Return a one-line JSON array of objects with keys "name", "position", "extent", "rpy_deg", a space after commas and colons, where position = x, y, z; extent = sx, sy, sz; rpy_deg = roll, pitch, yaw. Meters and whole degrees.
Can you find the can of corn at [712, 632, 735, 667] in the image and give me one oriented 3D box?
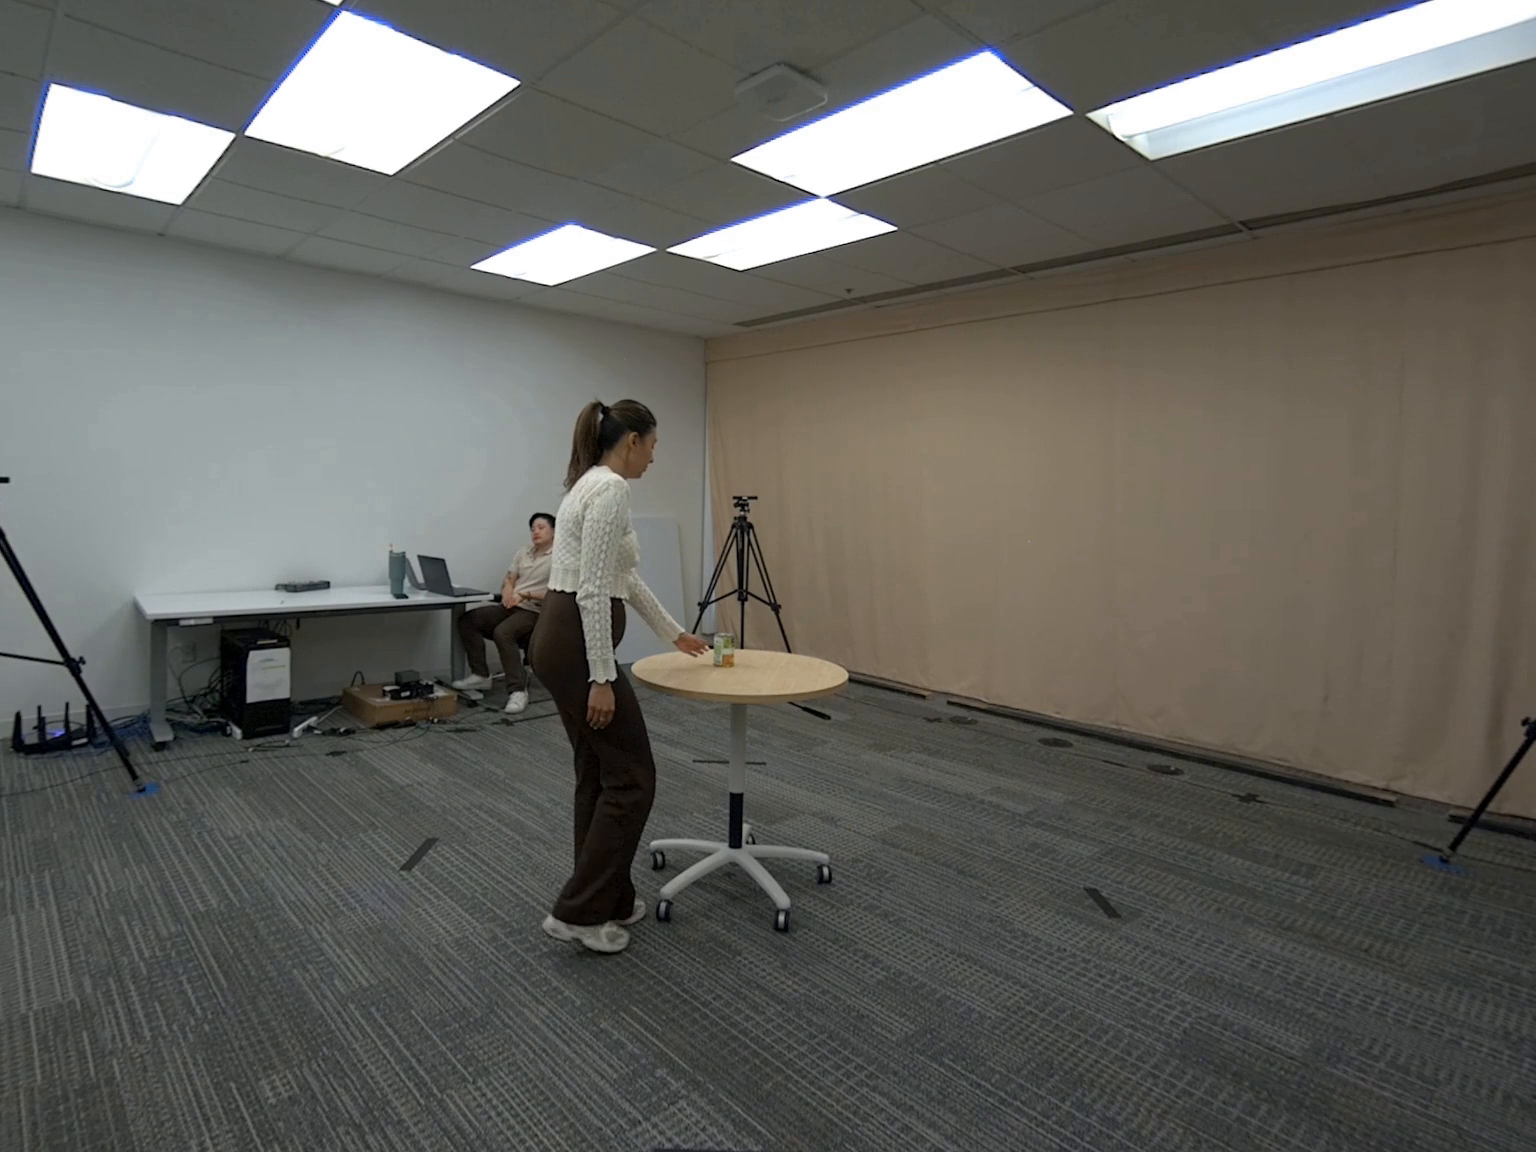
[{"name": "can of corn", "position": [-0.168, 0.268, 3.040], "extent": [0.074, 0.111, 0.074], "rpy_deg": [1, 4, -1]}]
